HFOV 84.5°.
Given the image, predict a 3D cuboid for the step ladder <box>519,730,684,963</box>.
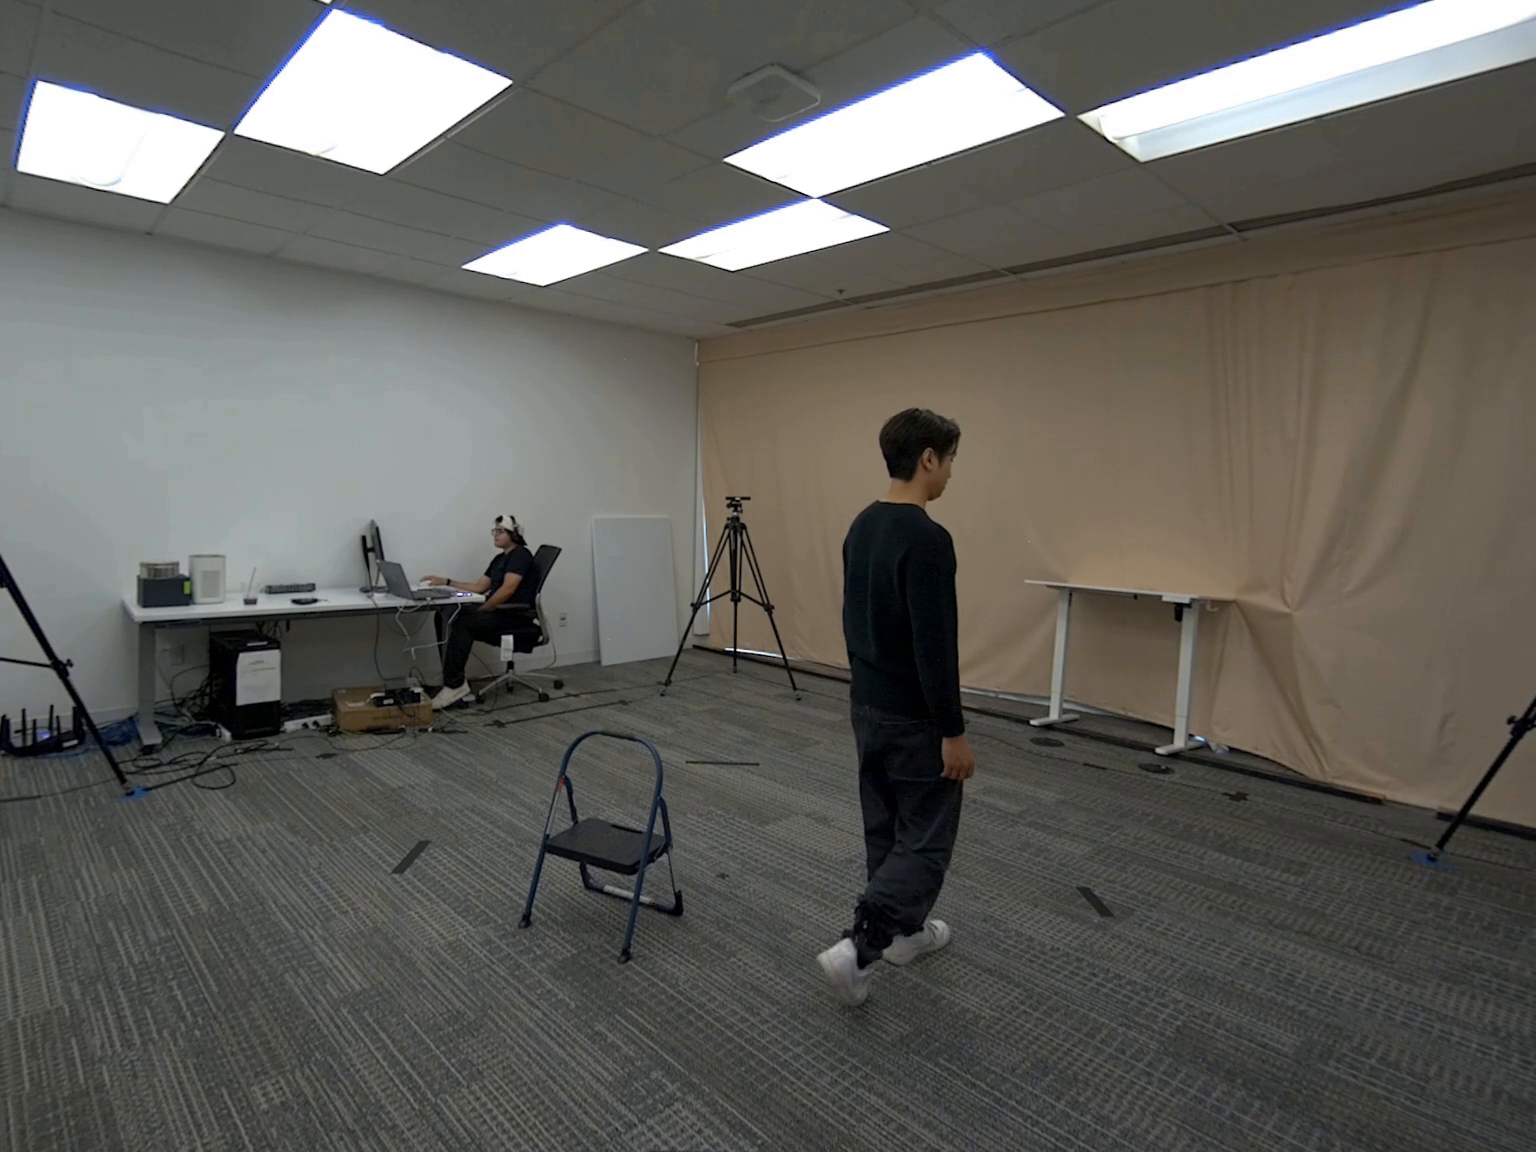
[{"bbox_3d":[-0.537,0.828,2.741,0.439,0.604,0.343,4,5,27],"label":"step ladder"}]
